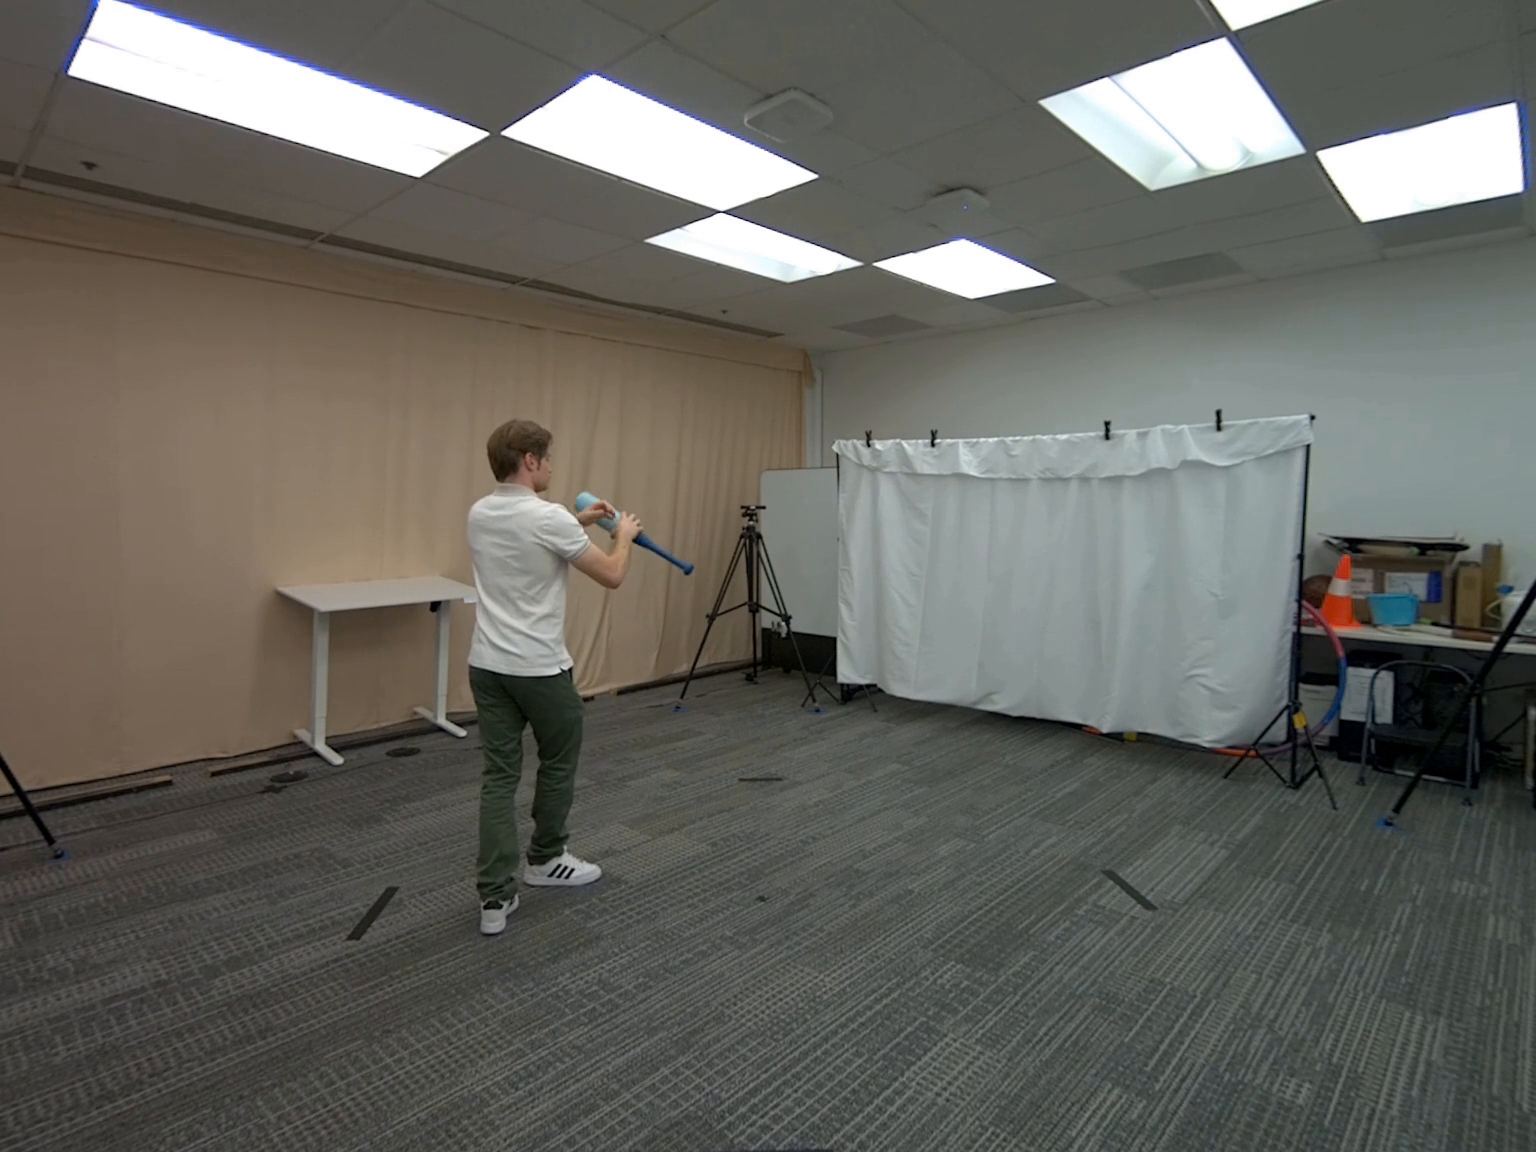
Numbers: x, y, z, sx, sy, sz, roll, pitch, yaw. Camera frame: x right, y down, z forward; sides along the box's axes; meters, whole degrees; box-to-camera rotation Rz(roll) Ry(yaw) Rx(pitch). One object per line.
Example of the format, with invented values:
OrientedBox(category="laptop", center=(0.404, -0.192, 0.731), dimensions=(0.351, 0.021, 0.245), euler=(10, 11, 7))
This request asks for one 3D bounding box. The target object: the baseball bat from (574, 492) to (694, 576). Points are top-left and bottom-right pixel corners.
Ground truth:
OrientedBox(category="baseball bat", center=(-0.521, -0.152, 3.212), dimensions=(0.553, 0.089, 0.087), euler=(33, 13, 15))
